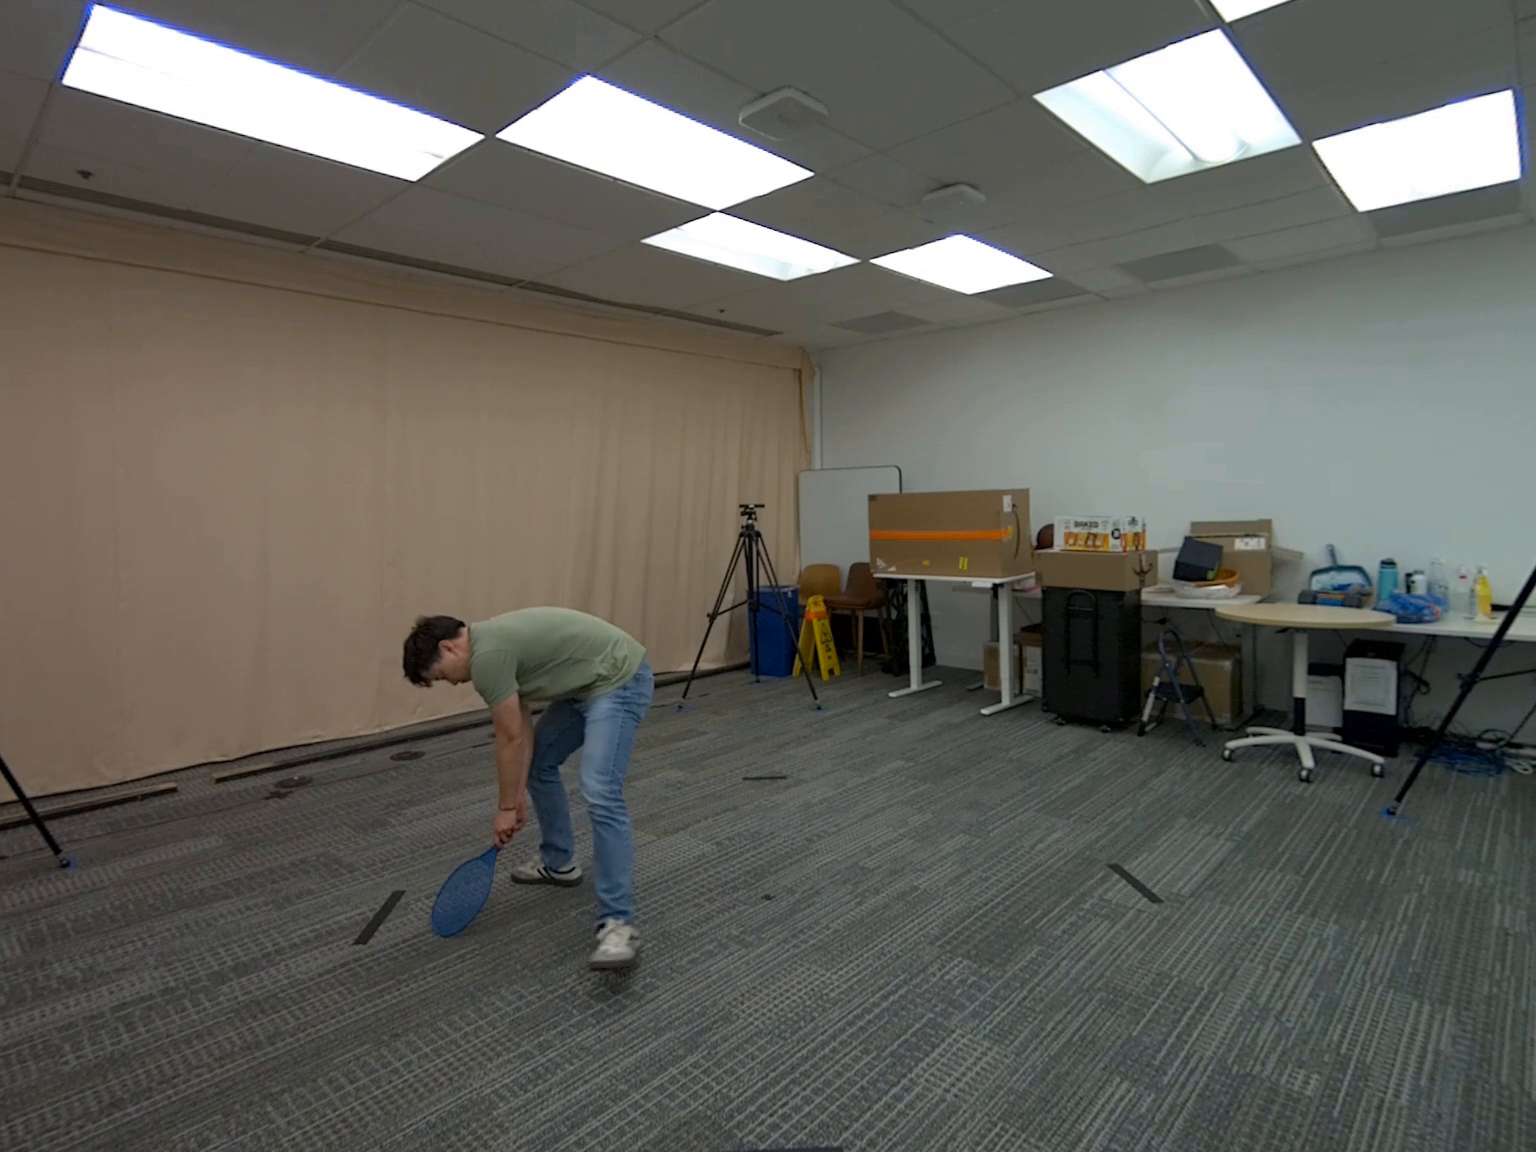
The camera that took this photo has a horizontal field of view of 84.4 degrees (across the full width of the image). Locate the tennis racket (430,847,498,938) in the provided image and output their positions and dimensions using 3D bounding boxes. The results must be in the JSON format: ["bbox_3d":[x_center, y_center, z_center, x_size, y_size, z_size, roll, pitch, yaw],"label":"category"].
[{"bbox_3d":[-0.969,1.012,2.844,0.222,0.431,0.031,25,-20,42],"label":"tennis racket"}]
